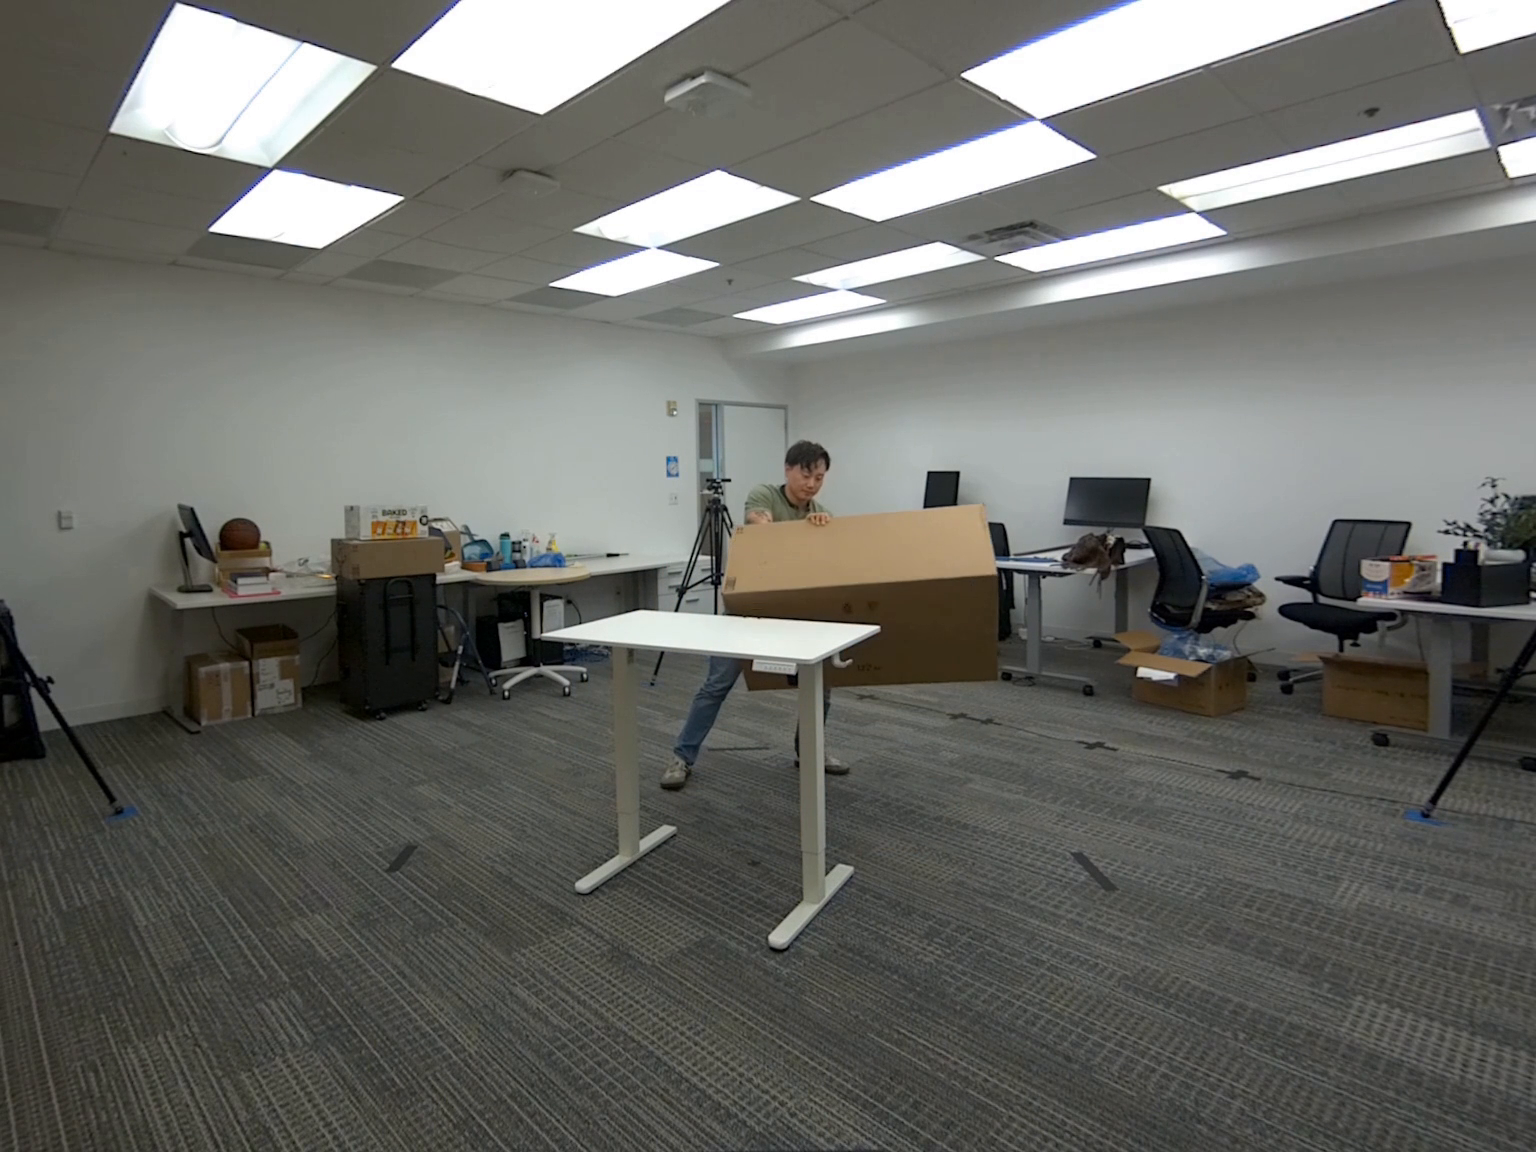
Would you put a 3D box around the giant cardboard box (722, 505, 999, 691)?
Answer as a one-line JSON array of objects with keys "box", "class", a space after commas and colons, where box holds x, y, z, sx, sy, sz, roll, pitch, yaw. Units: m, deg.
[{"box": [0.387, 0.101, 3.498, 1.038, 0.559, 0.435, -5, 39, 13], "class": "giant cardboard box"}]
